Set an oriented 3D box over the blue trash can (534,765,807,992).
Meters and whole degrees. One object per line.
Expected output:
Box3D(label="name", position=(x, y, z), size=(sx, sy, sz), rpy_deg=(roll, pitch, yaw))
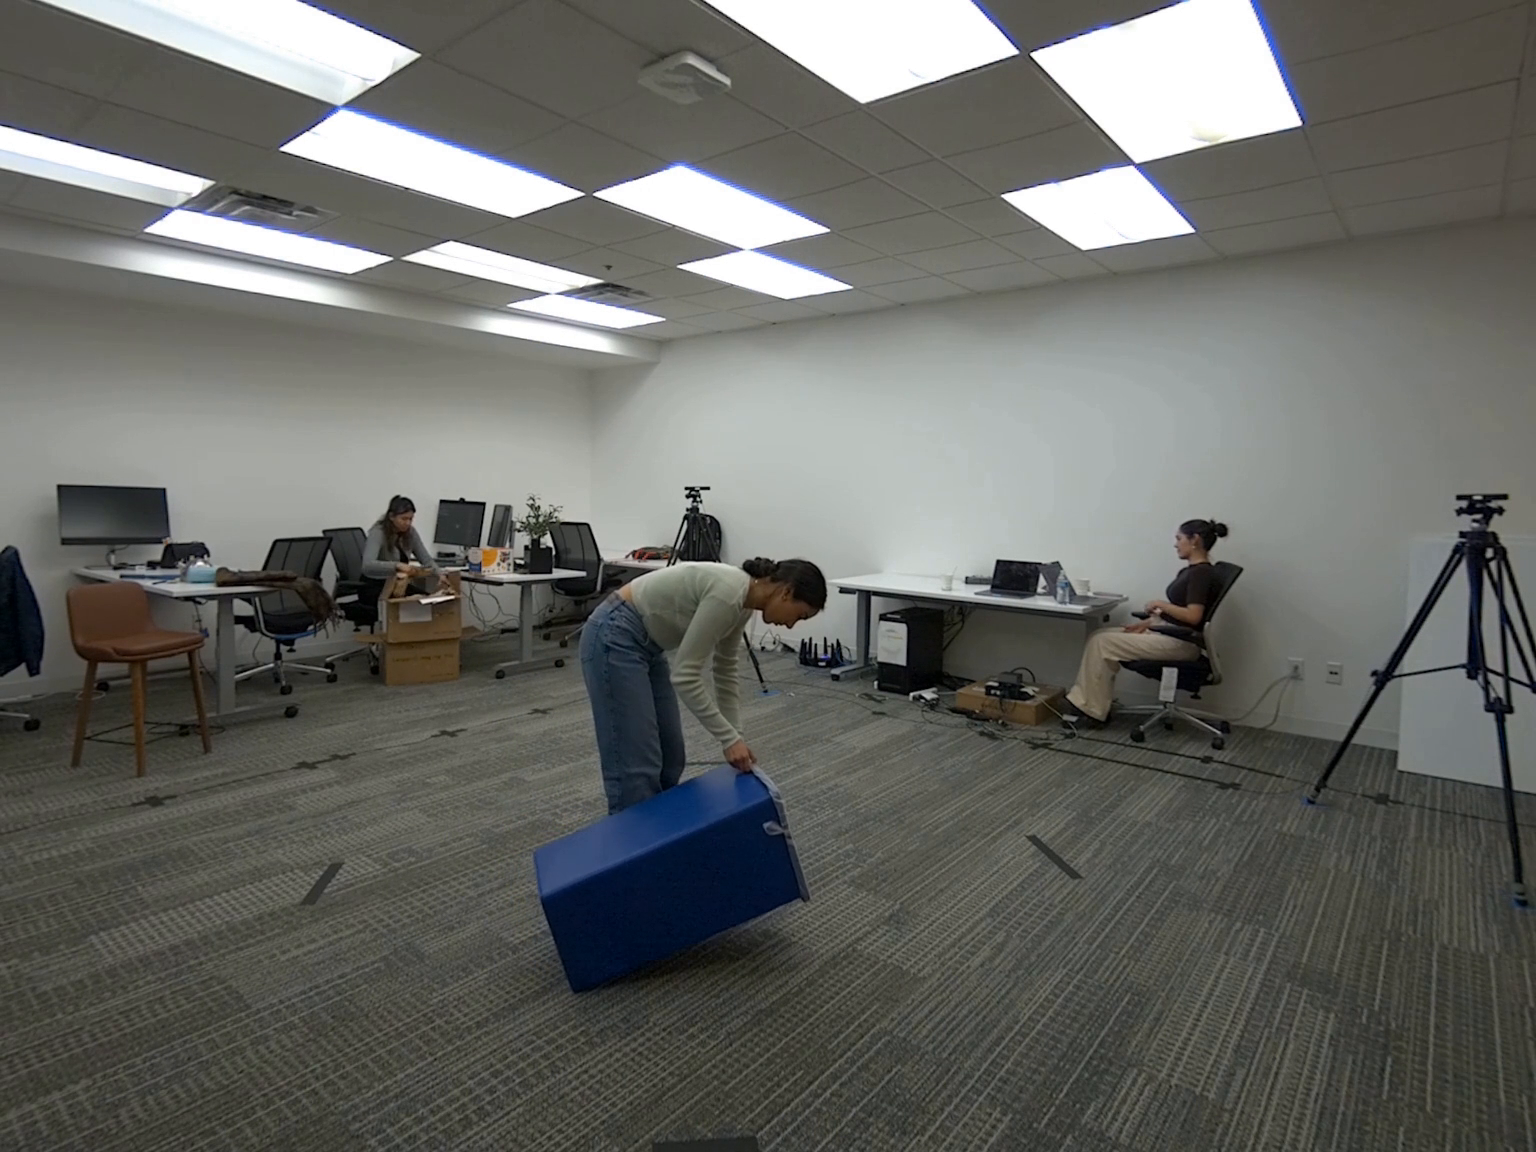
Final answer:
Box3D(label="blue trash can", position=(-0.312, 0.854, 2.529), size=(0.706, 0.374, 0.382), rpy_deg=(-17, 10, -15))
